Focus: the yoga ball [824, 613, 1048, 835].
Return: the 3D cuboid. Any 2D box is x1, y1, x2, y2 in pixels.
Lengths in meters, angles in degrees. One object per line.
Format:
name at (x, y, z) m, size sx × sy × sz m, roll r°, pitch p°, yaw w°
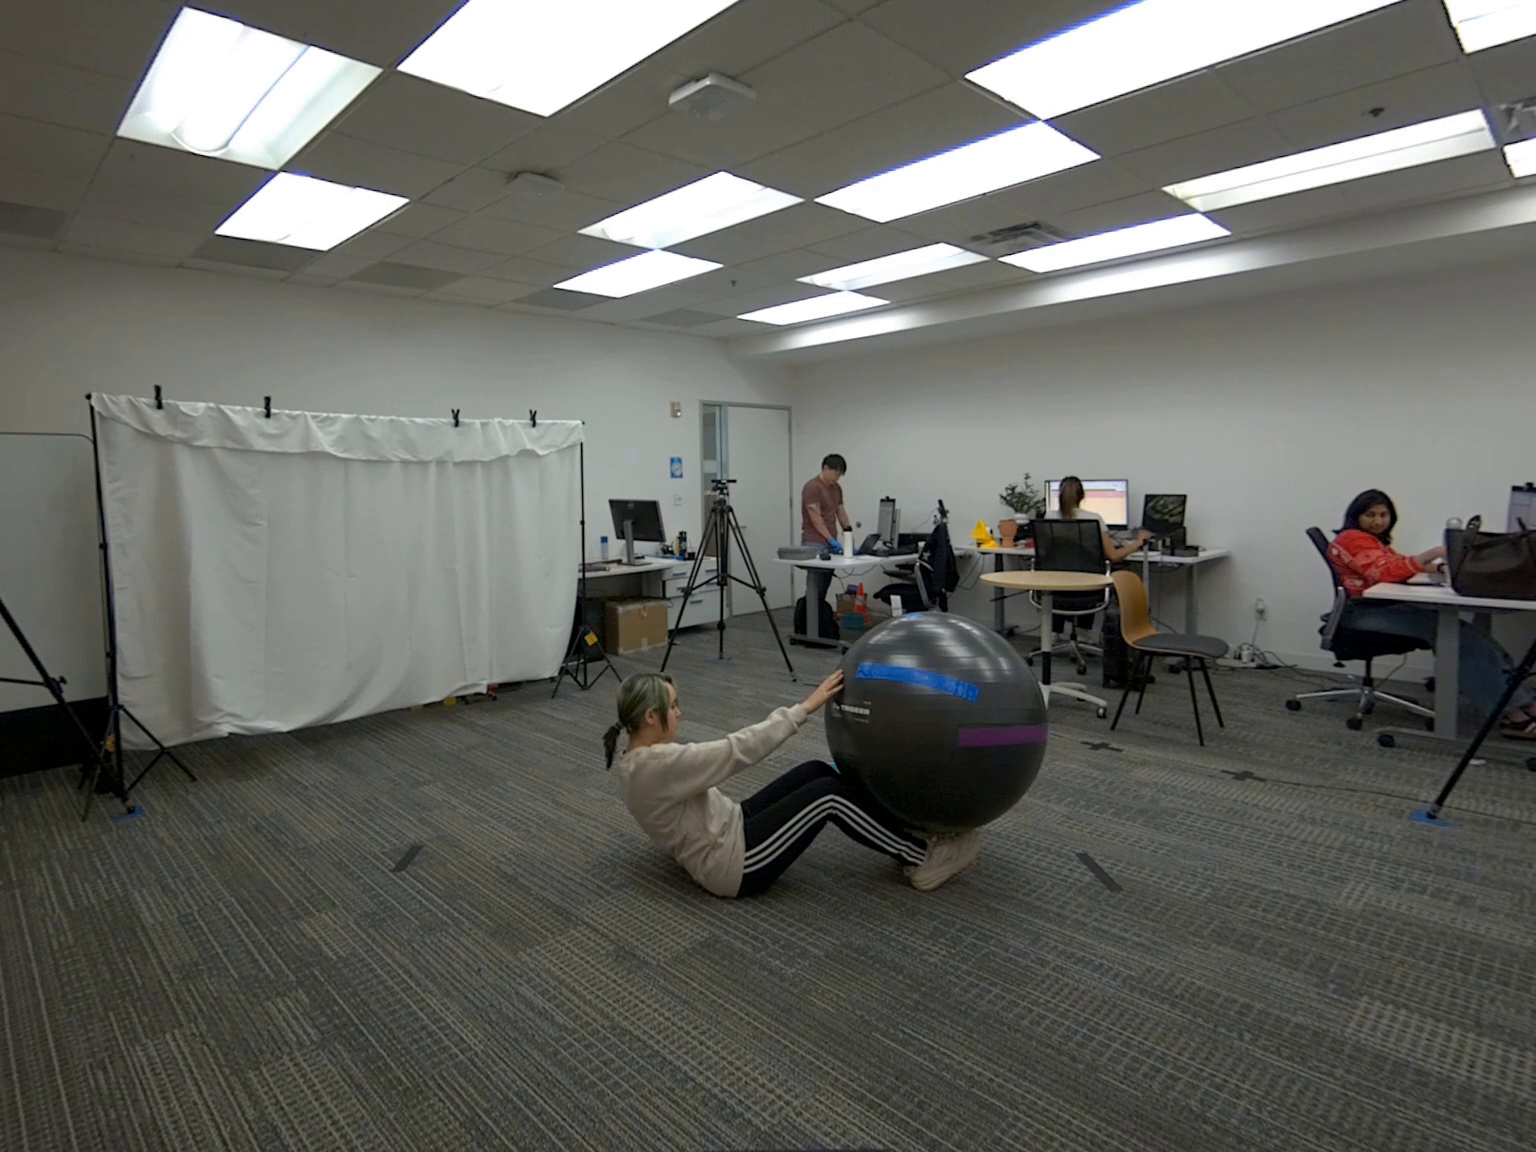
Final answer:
yoga ball at (0.592, 0.510, 3.017) m, size 0.757 × 0.755 × 0.762 m, roll -1°, pitch 5°, yaw -2°
